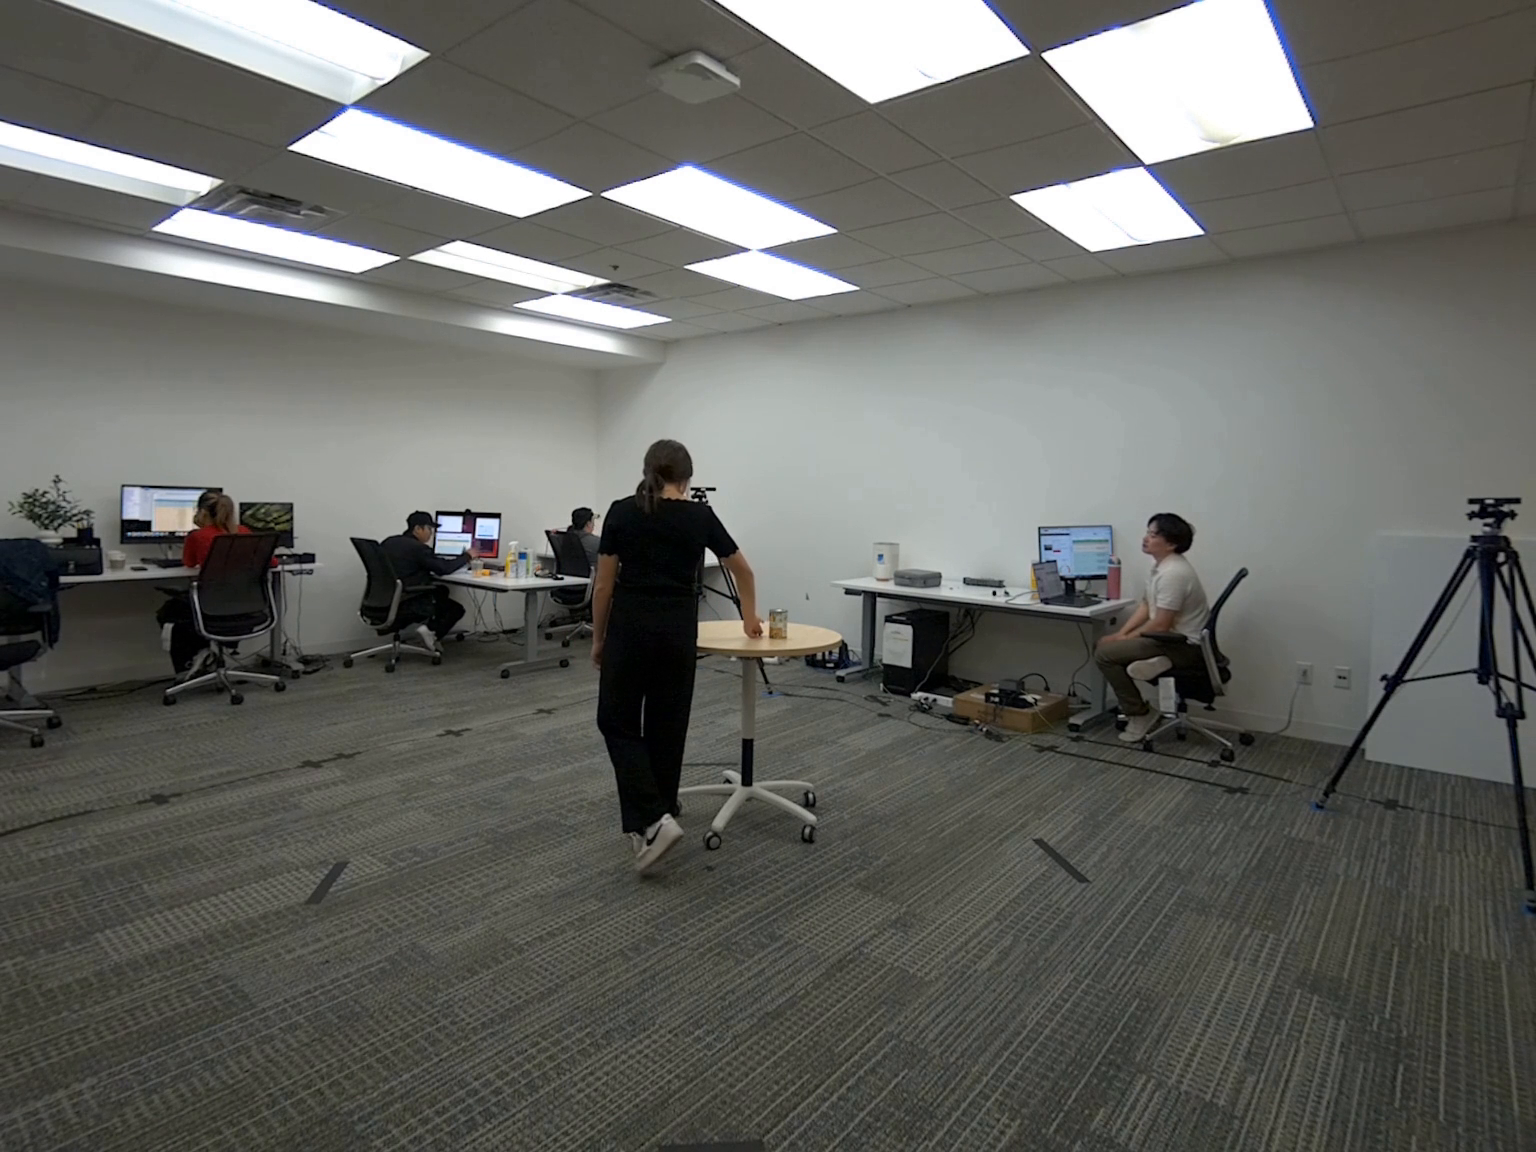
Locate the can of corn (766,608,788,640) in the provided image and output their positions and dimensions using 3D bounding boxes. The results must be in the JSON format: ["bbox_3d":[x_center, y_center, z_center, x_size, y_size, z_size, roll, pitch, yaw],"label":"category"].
[{"bbox_3d":[0.033,0.194,3.475,0.074,0.110,0.075,2,6,-2],"label":"can of corn"}]
